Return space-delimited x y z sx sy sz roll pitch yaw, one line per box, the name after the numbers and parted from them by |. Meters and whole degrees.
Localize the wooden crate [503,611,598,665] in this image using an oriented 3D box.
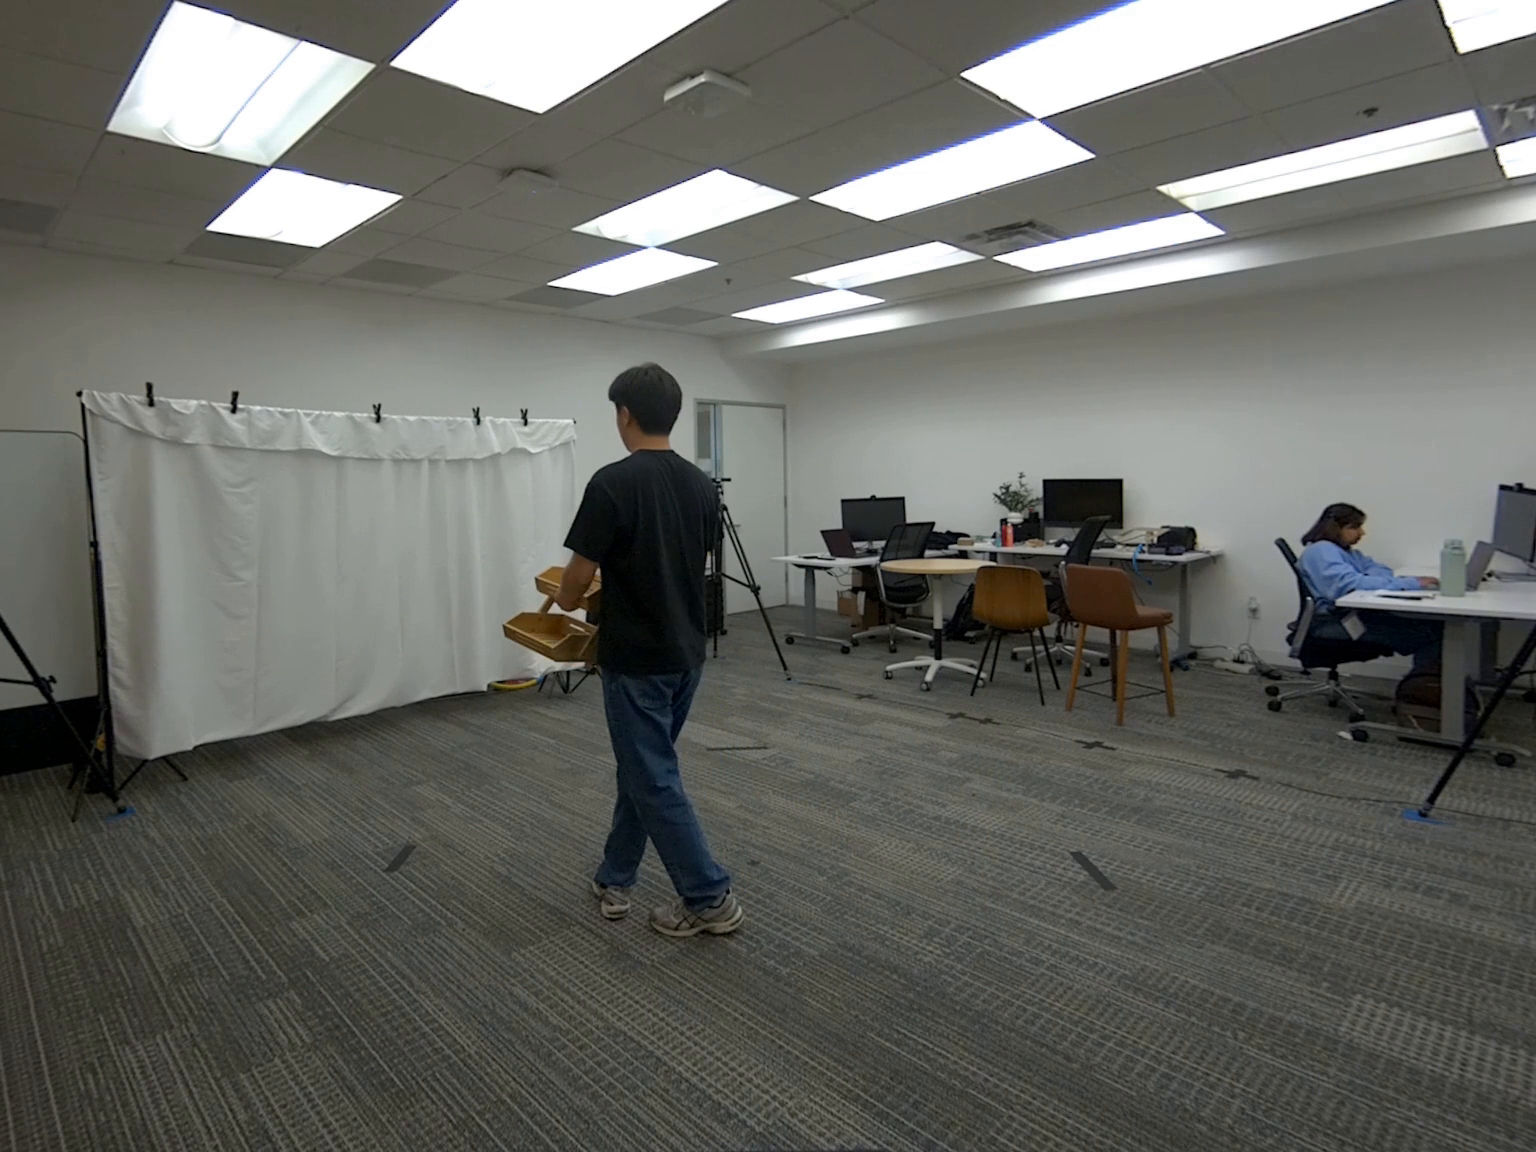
-0.671 0.116 2.890 0.336 0.273 0.292 15 3 41 | wooden crate
